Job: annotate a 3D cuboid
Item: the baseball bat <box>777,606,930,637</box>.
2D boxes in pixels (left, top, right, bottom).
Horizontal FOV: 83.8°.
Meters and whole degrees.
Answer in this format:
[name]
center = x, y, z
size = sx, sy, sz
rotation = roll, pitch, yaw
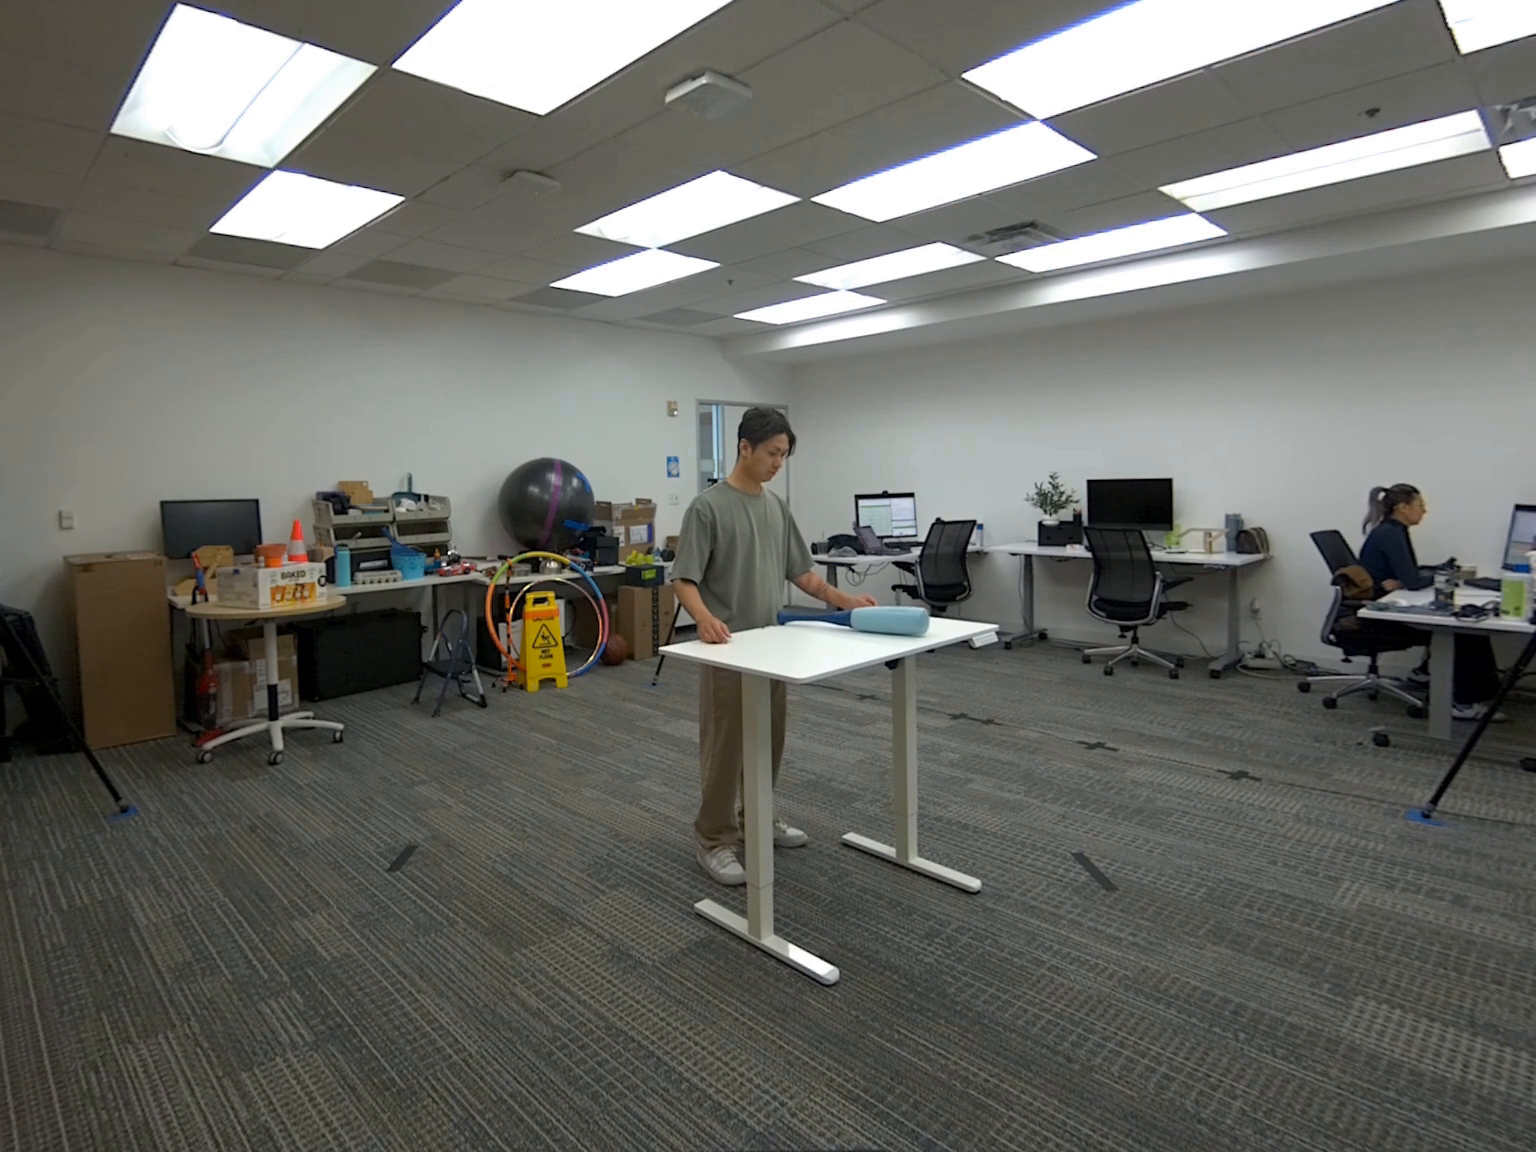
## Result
[baseball bat]
center = 0.272, 0.150, 2.855
size = 0.556, 0.089, 0.087
rotation = -1, 4, 30
